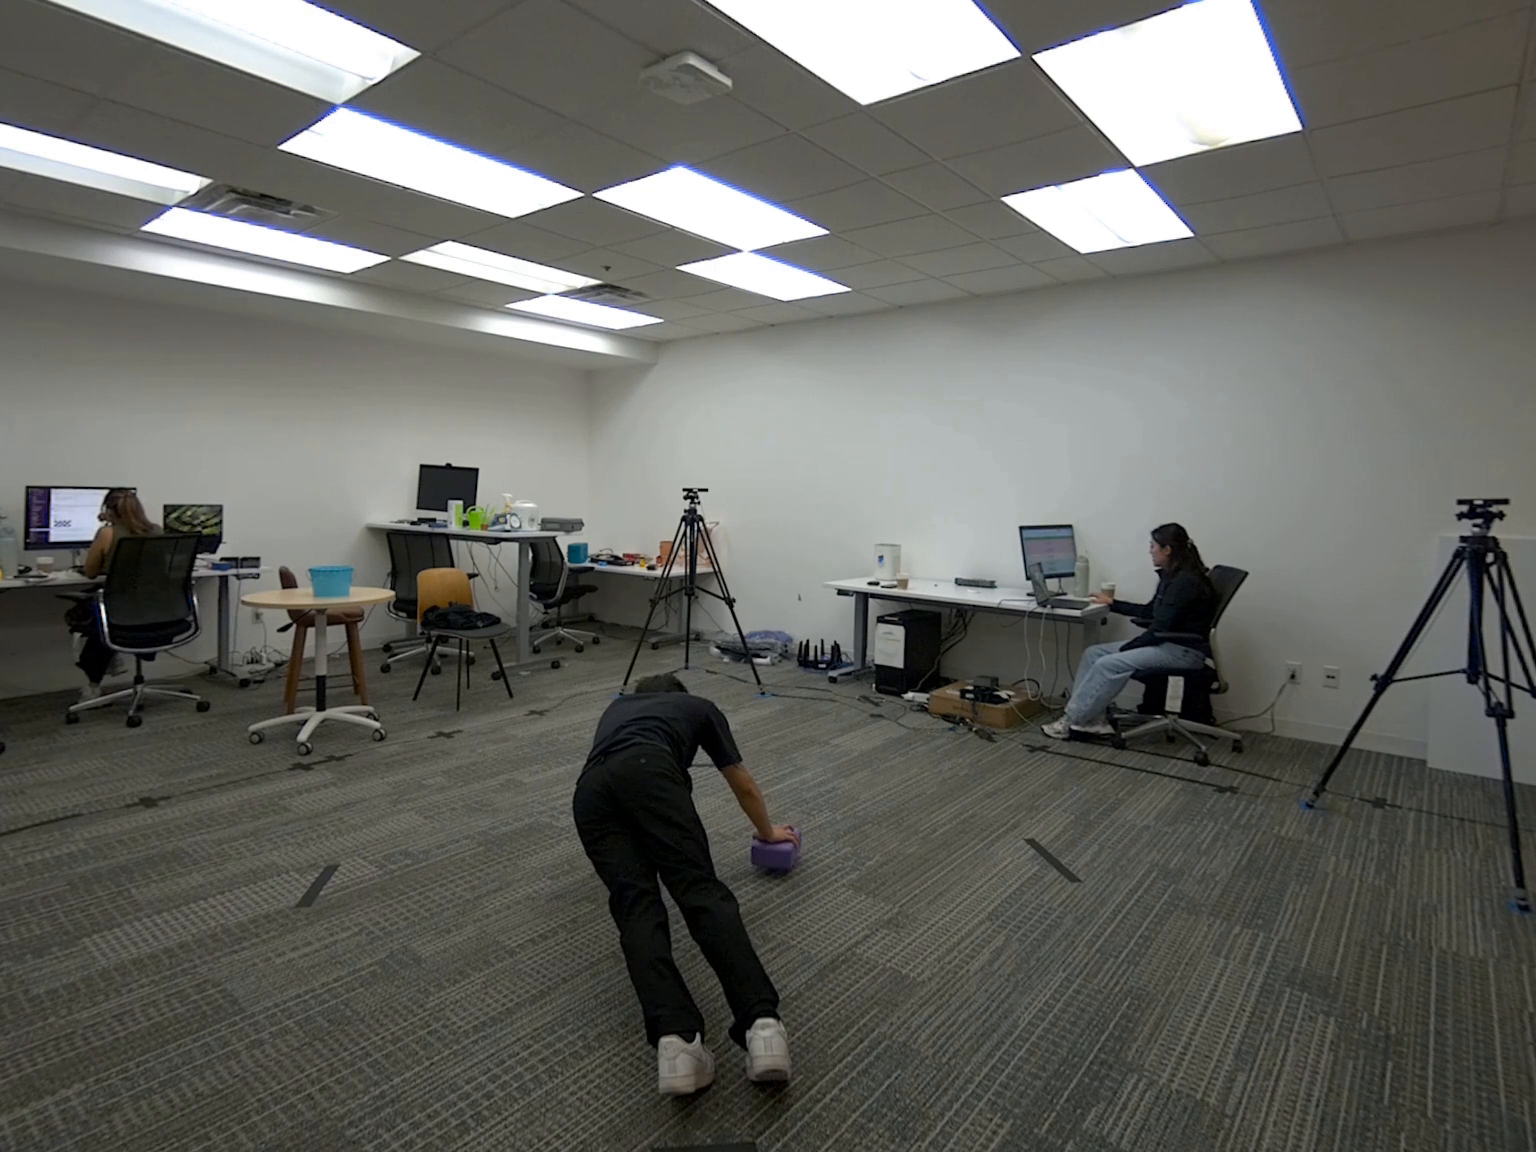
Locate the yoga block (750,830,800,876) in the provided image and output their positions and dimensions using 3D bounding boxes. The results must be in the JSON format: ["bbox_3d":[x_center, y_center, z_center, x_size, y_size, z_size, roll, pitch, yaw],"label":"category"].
[{"bbox_3d":[0.020,1.000,3.145,0.151,0.076,0.226,2,5,13],"label":"yoga block"}]
